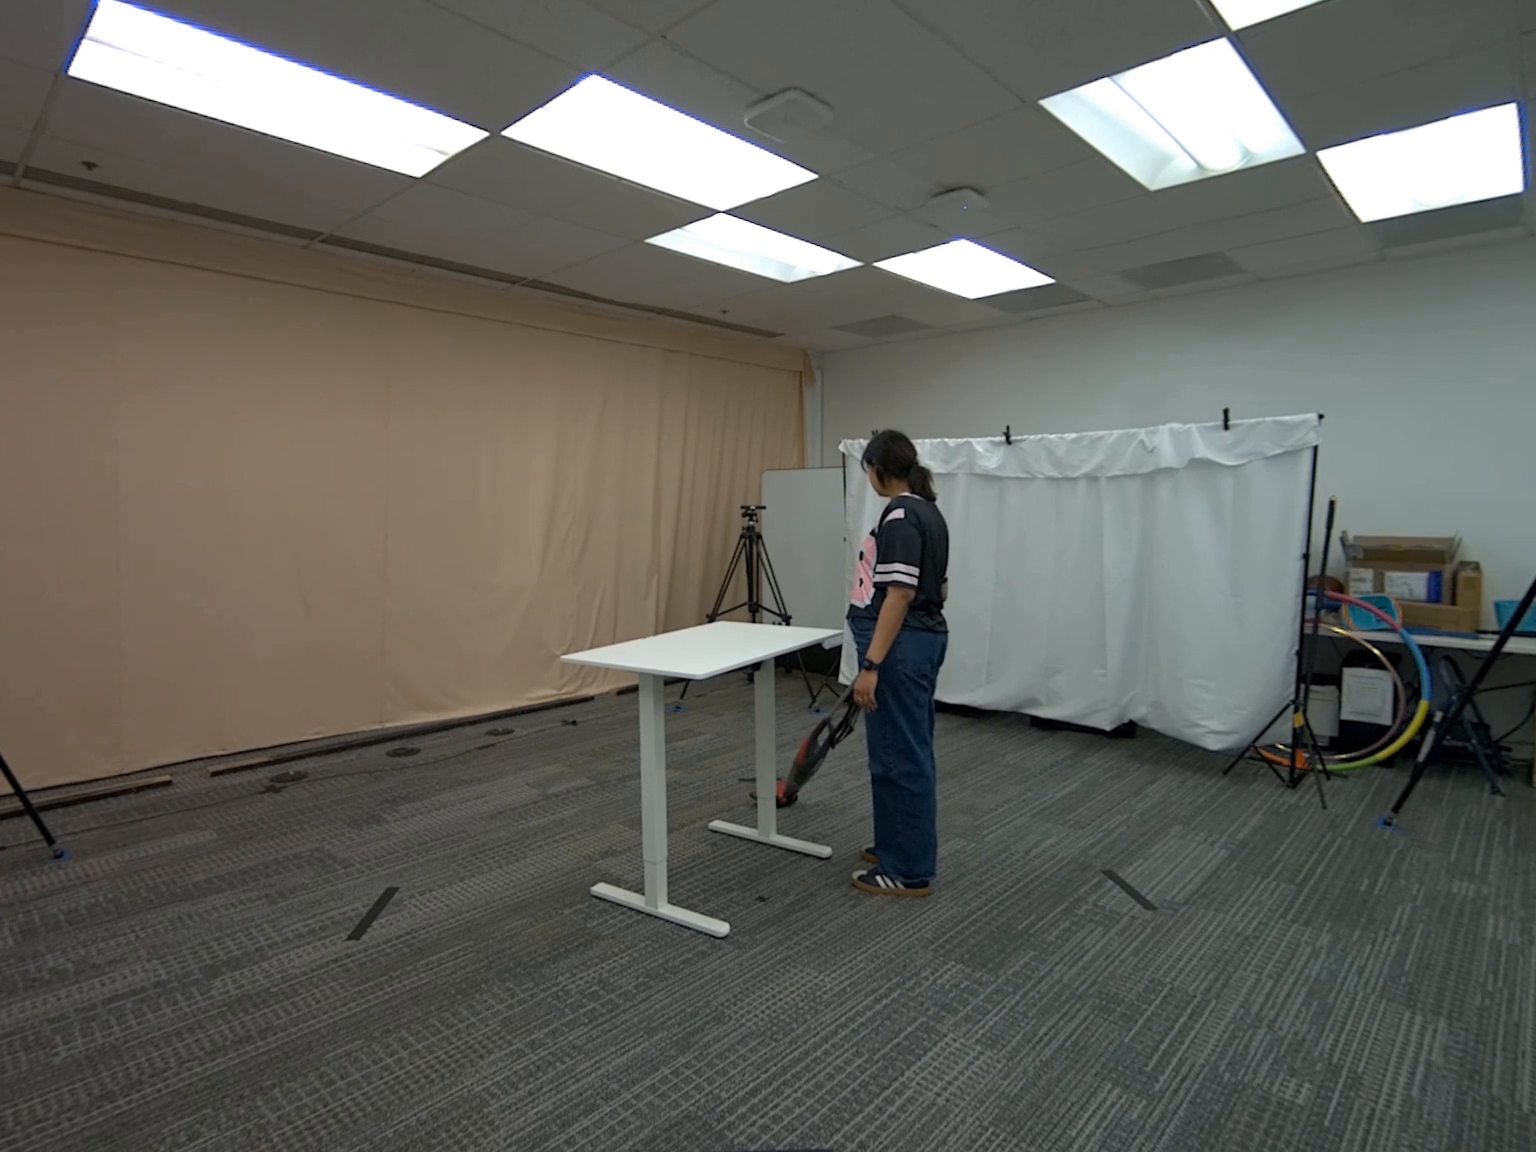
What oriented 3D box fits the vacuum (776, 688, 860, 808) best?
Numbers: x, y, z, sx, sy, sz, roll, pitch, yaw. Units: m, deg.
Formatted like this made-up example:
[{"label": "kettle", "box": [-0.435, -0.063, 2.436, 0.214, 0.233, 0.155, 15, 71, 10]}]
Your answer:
[{"label": "vacuum", "box": [0.293, 0.653, 3.712, 0.245, 1.050, 0.148, -6, 47, -49]}]
